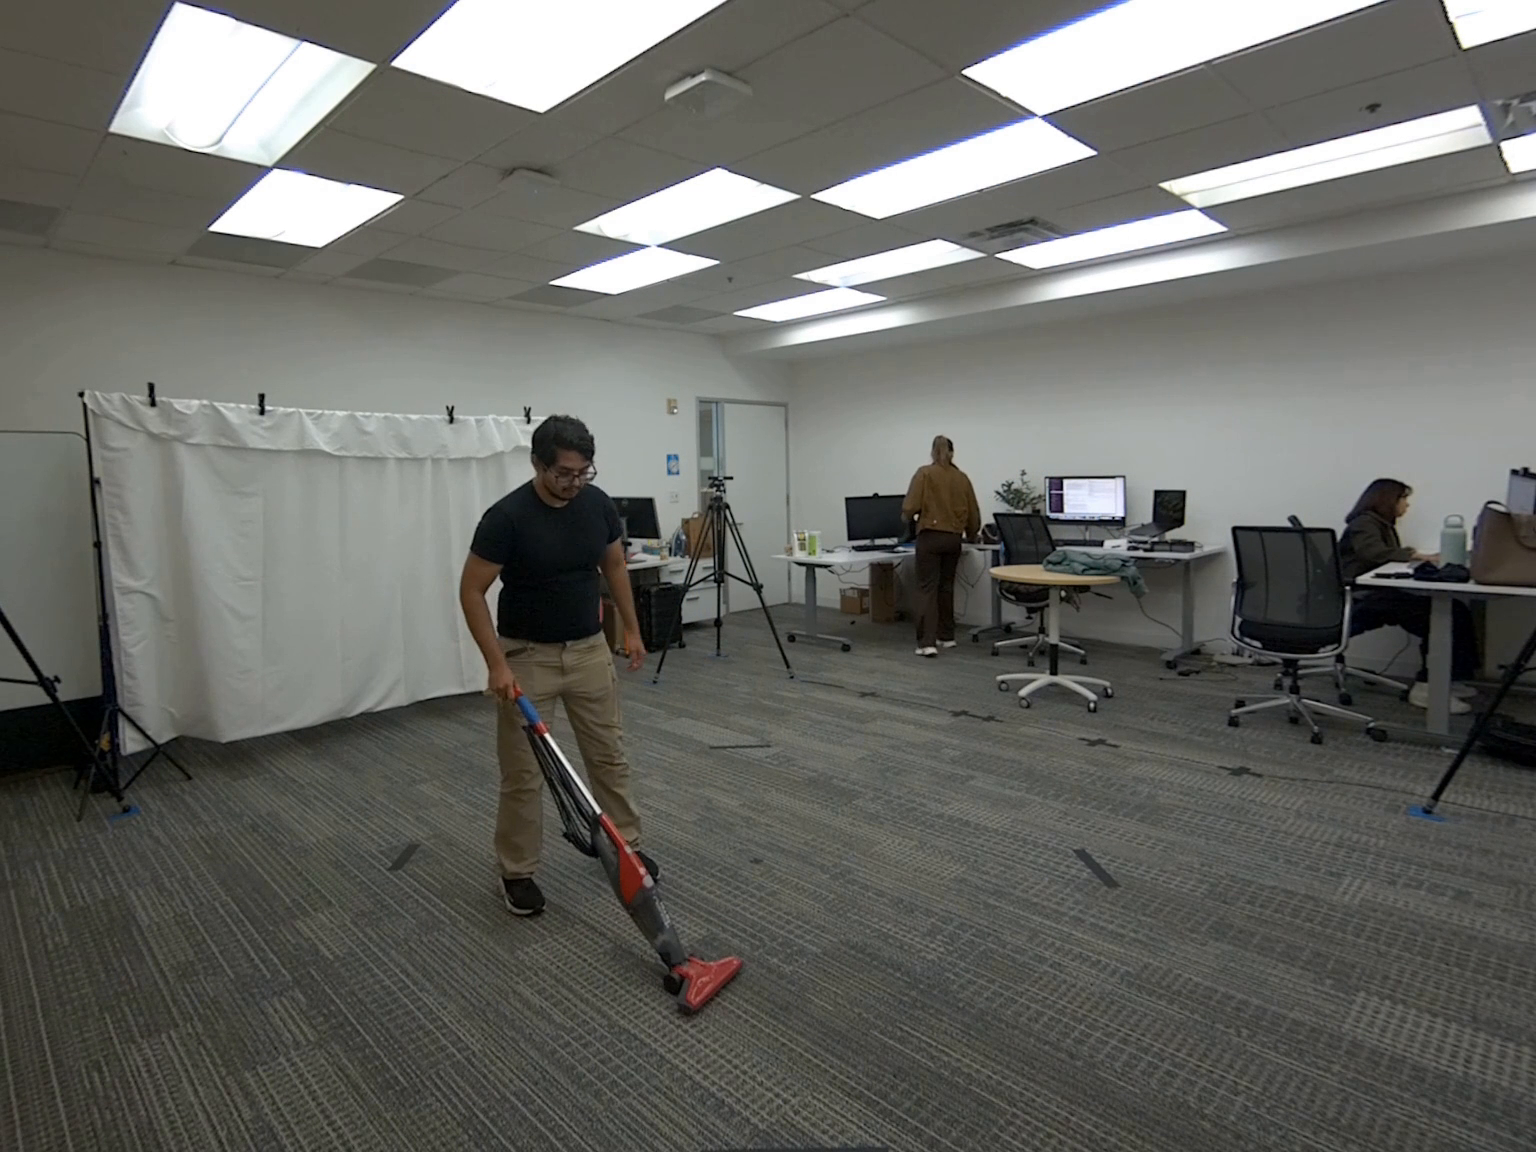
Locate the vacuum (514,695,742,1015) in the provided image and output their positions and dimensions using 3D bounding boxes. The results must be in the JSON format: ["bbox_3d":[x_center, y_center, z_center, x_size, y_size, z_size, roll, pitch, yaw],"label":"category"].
[{"bbox_3d":[-0.502,0.737,2.525,0.144,1.075,0.247,-50,-21,27],"label":"vacuum"}]
